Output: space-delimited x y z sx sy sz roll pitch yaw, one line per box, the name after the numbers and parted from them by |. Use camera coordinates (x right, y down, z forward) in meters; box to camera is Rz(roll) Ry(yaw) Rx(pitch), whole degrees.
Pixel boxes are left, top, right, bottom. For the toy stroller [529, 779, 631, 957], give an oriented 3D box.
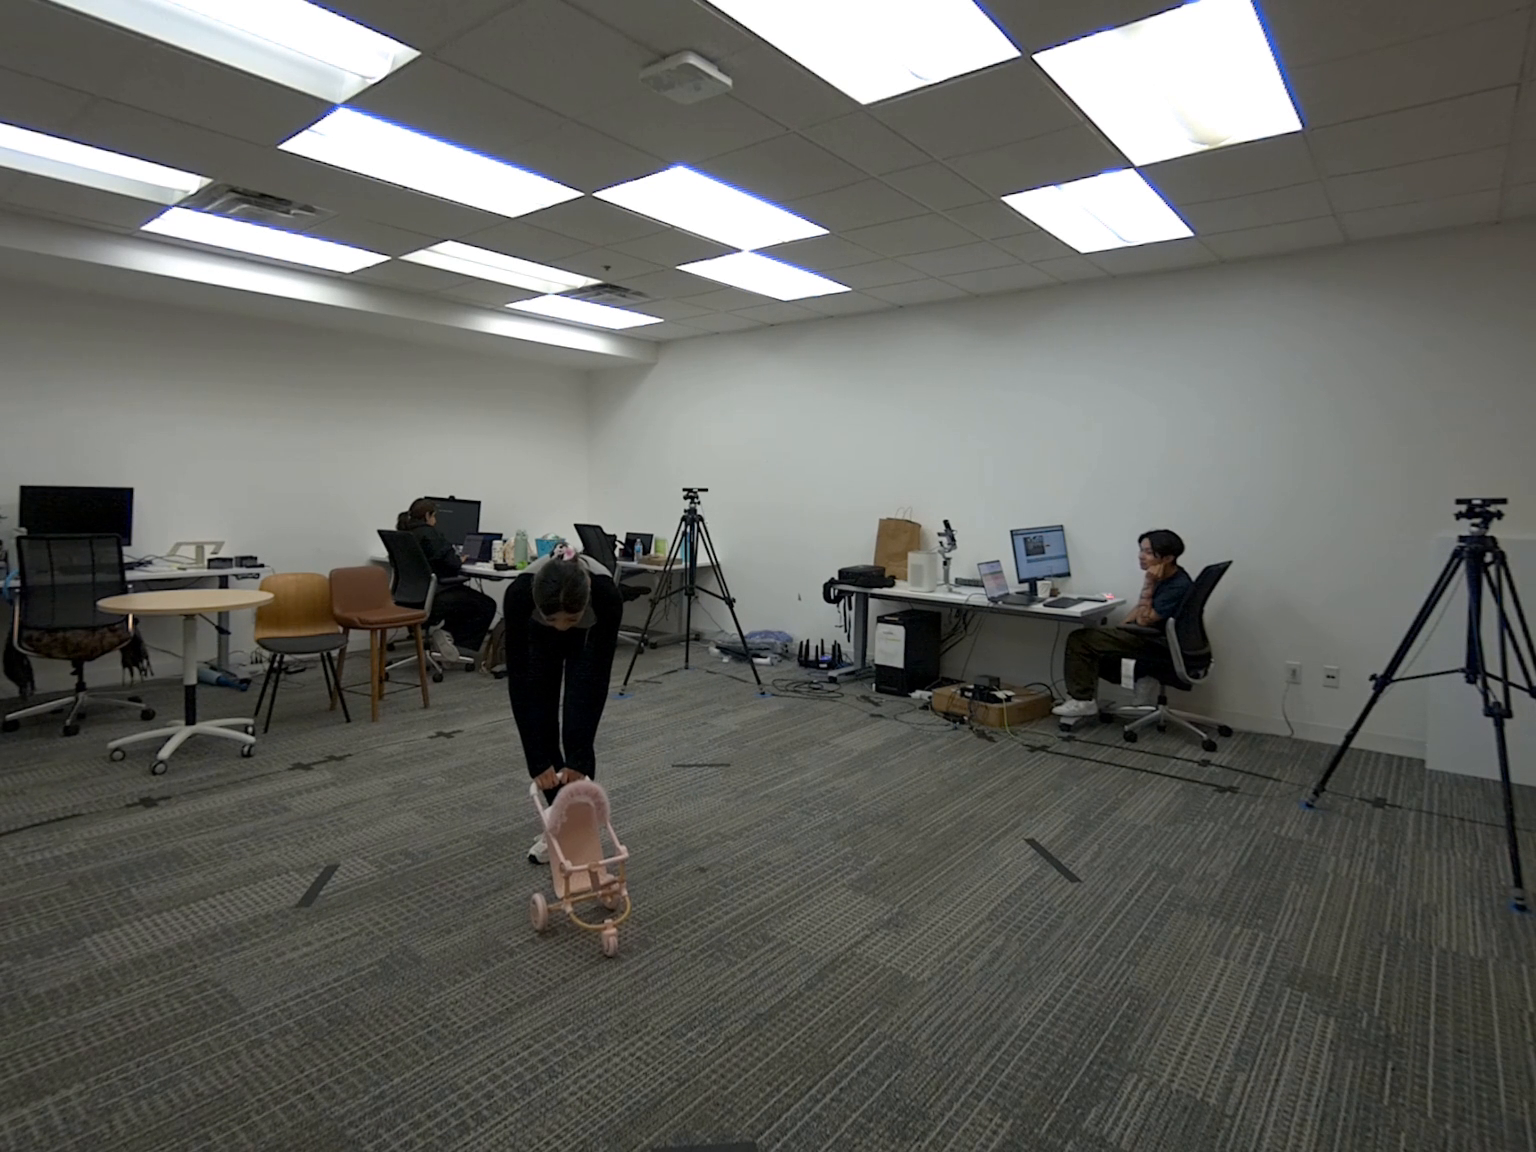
-0.592 0.881 2.674 0.274 0.542 0.346 -2 -12 -32 | toy stroller
